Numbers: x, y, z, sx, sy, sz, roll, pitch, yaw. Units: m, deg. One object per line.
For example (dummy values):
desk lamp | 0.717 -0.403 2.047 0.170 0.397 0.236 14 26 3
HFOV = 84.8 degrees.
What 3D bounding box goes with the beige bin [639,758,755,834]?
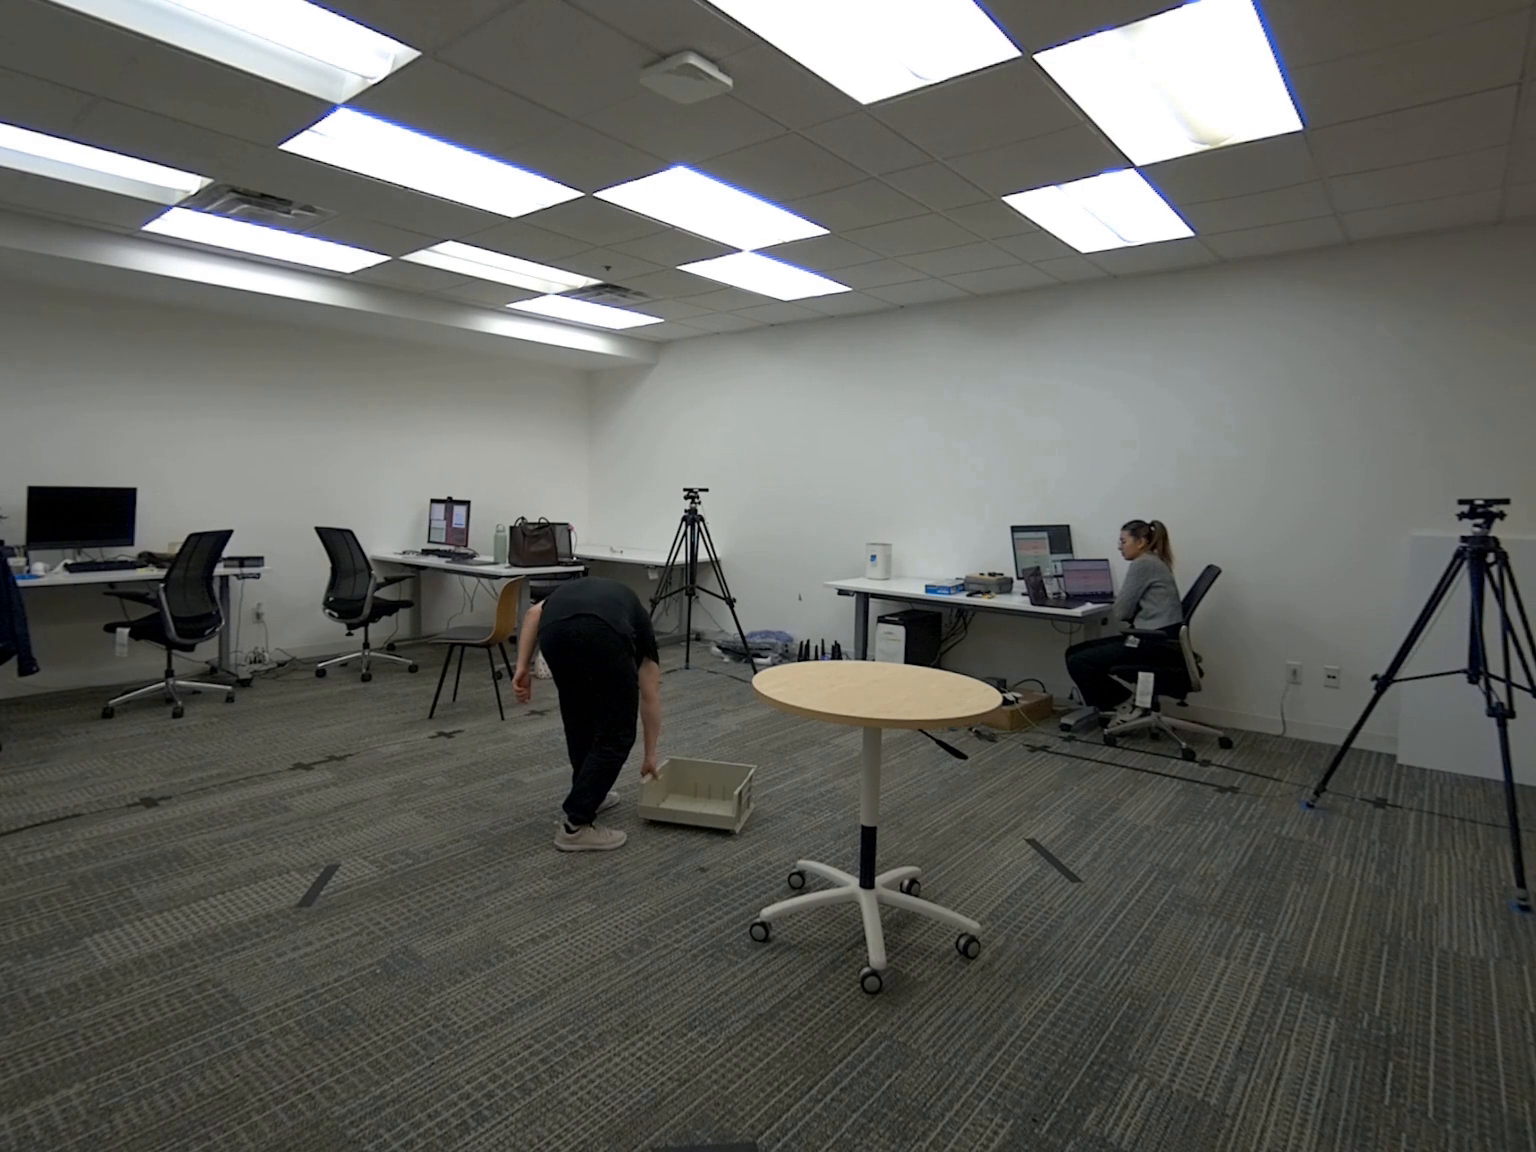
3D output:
beige bin | -0.301 0.933 3.622 0.429 0.188 0.373 2 4 13
